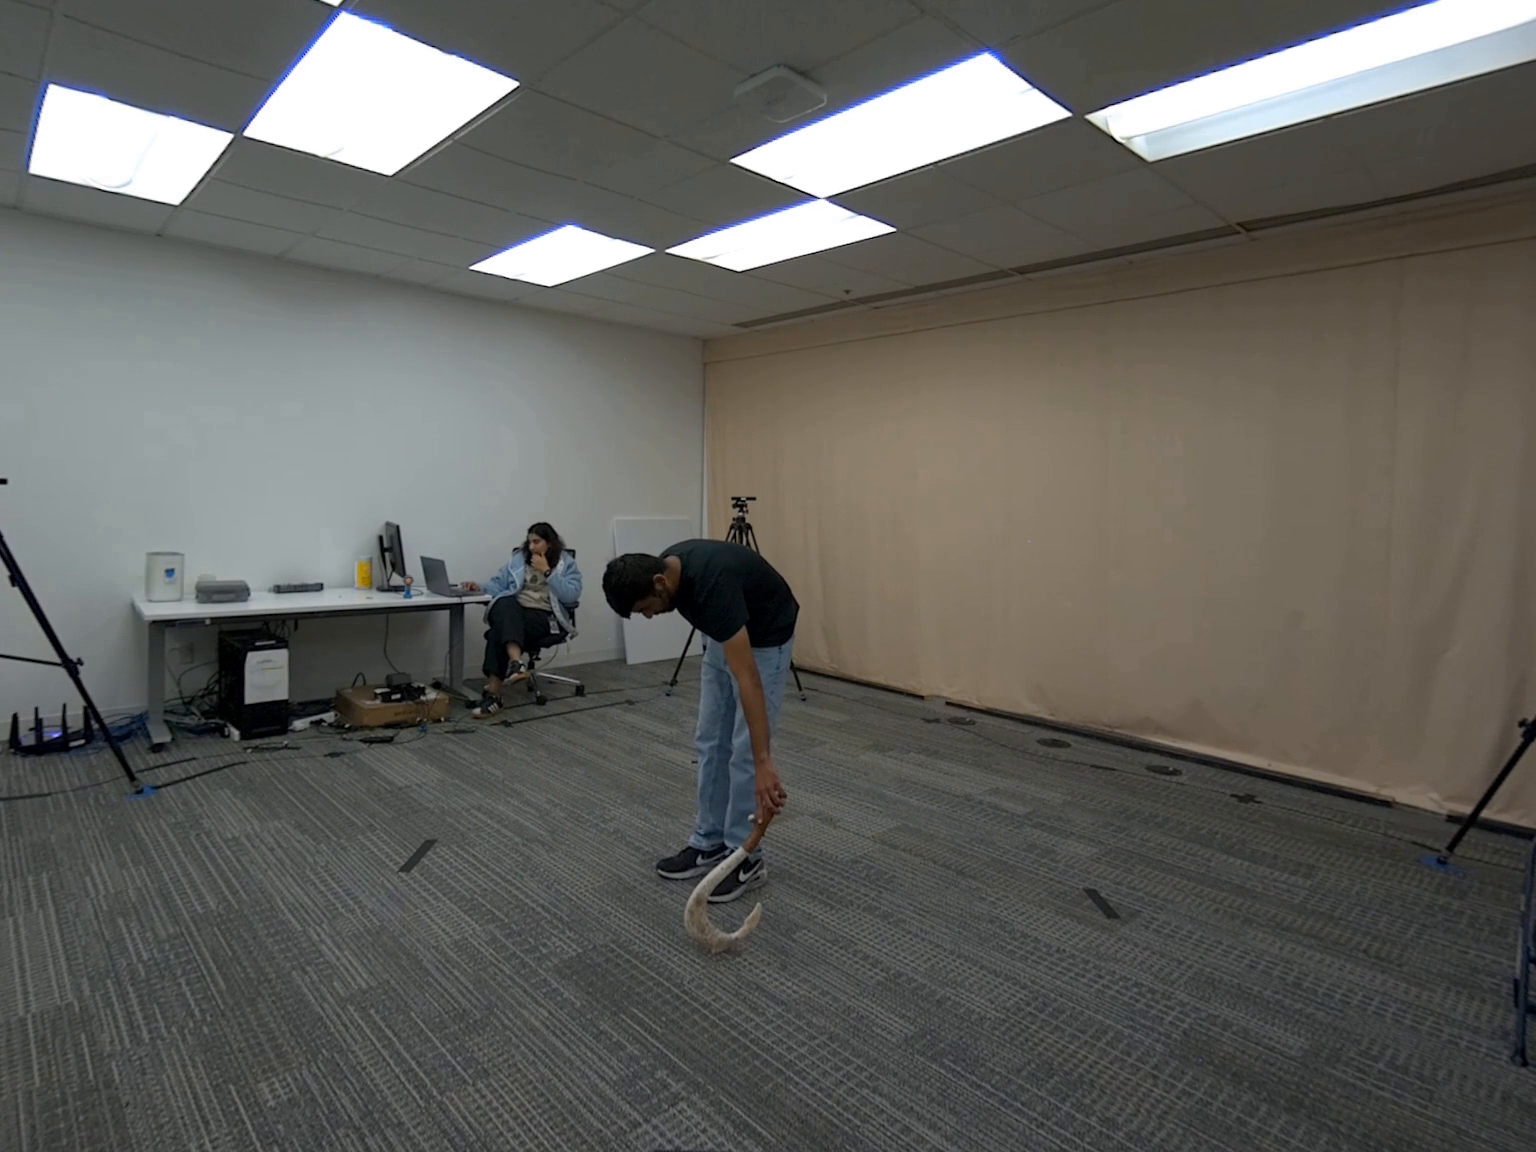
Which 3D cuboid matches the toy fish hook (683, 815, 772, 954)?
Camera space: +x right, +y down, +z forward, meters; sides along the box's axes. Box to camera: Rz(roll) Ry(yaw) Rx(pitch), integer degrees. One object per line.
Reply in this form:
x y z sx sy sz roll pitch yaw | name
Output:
-0.063 0.922 2.612 0.223 0.507 0.048 34 -8 -6 | toy fish hook
